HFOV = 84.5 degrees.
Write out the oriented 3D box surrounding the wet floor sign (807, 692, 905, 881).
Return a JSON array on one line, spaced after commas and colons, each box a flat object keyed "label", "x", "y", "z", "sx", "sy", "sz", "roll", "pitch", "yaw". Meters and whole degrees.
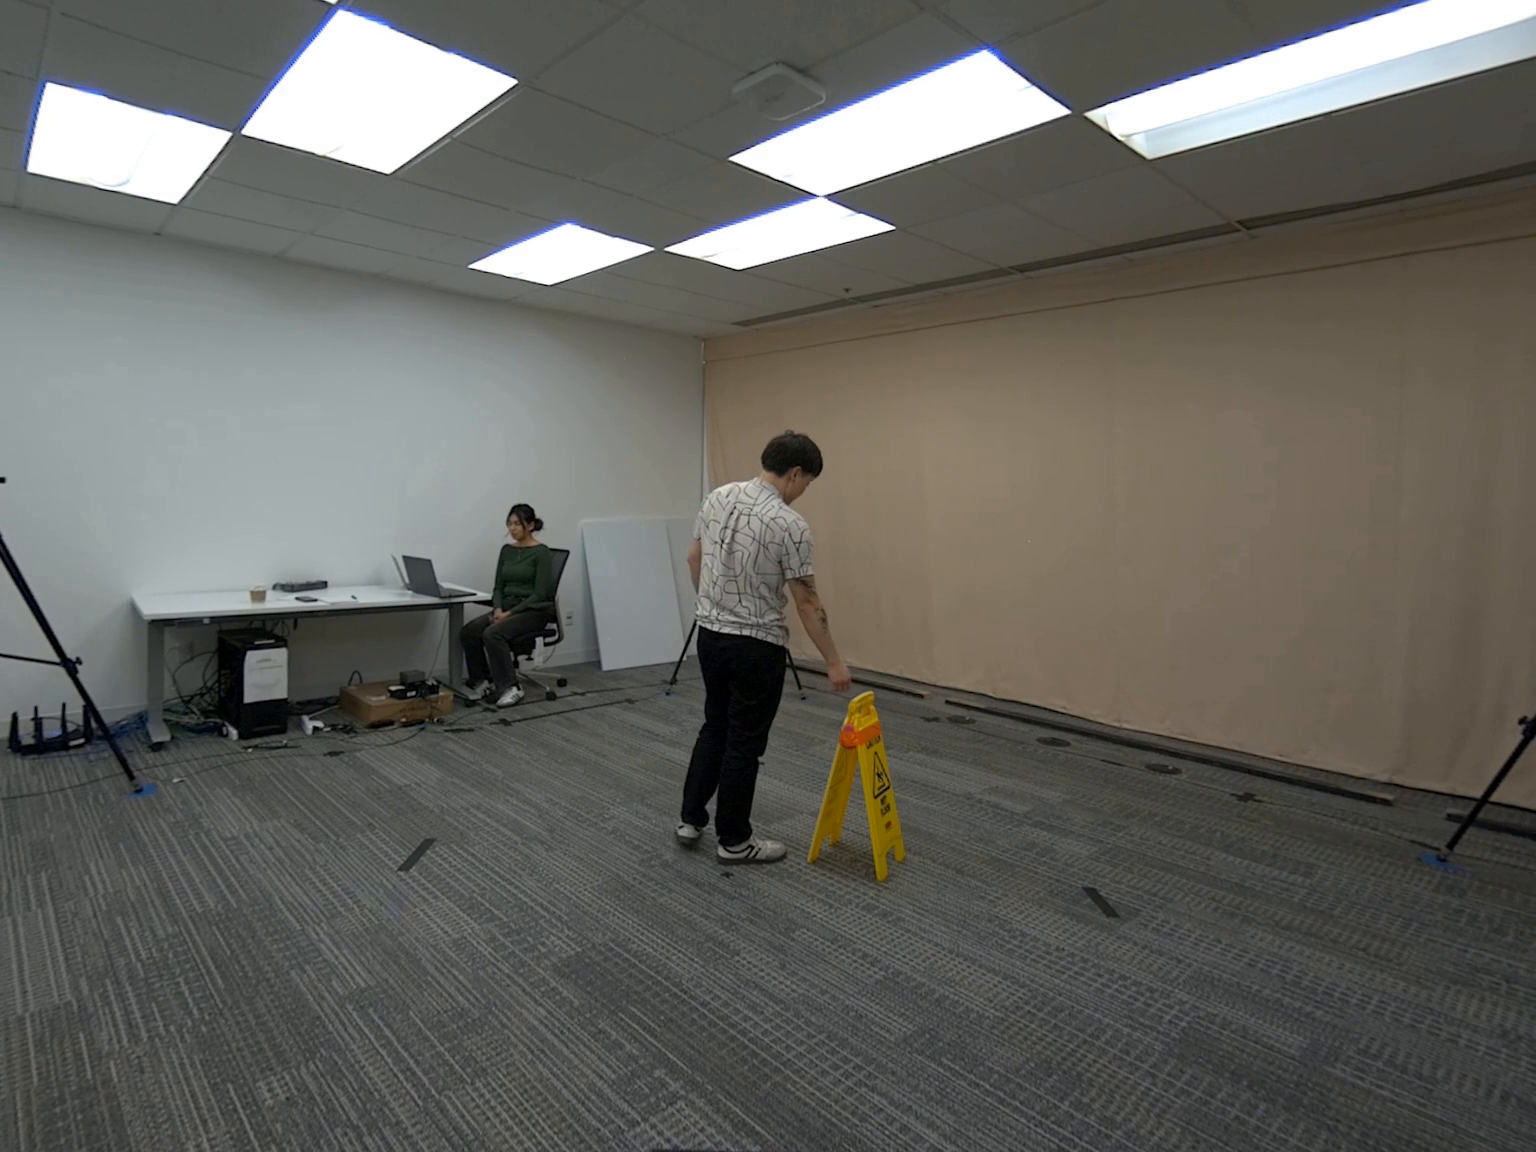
[{"label": "wet floor sign", "x": 0.341, "y": 0.776, "z": 3.244, "sx": 0.296, "sy": 0.645, "sz": 0.276, "roll": 2, "pitch": 2, "yaw": 29}]
